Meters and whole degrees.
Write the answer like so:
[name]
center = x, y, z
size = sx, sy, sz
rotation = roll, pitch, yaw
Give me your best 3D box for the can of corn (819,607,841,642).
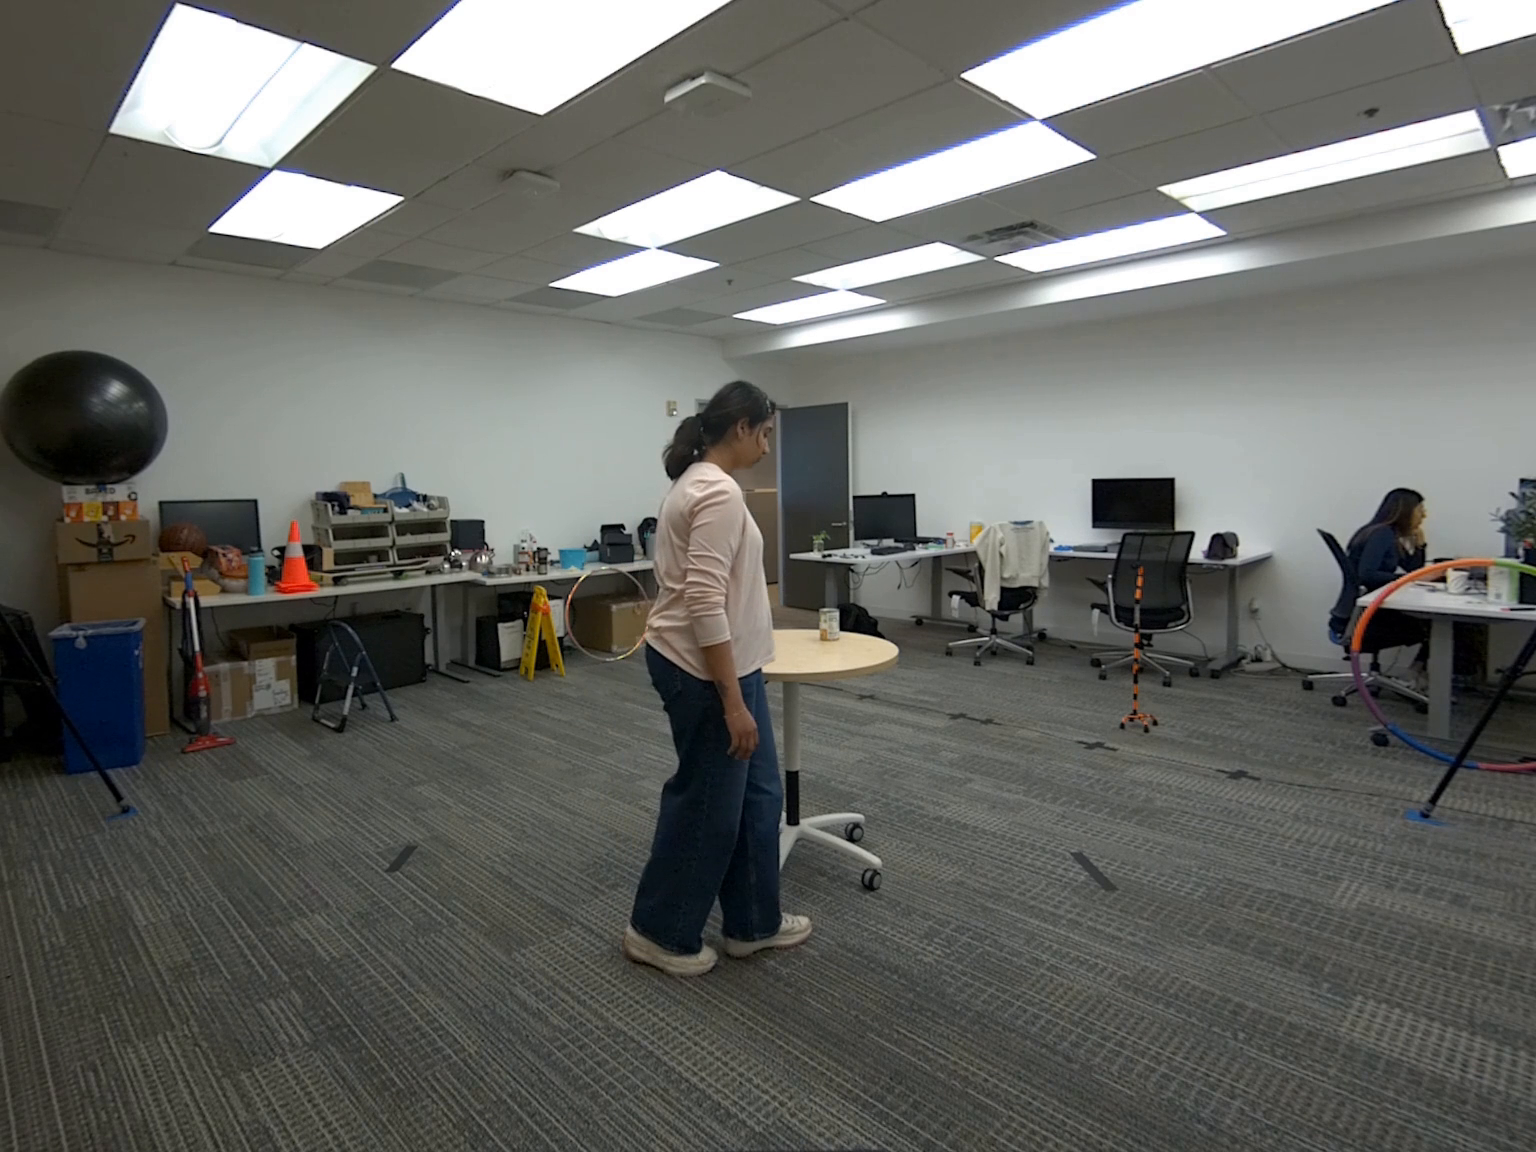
[can of corn]
center = 0.237, 0.184, 3.227
size = 0.074, 0.110, 0.075
rotation = 0, 6, -2
